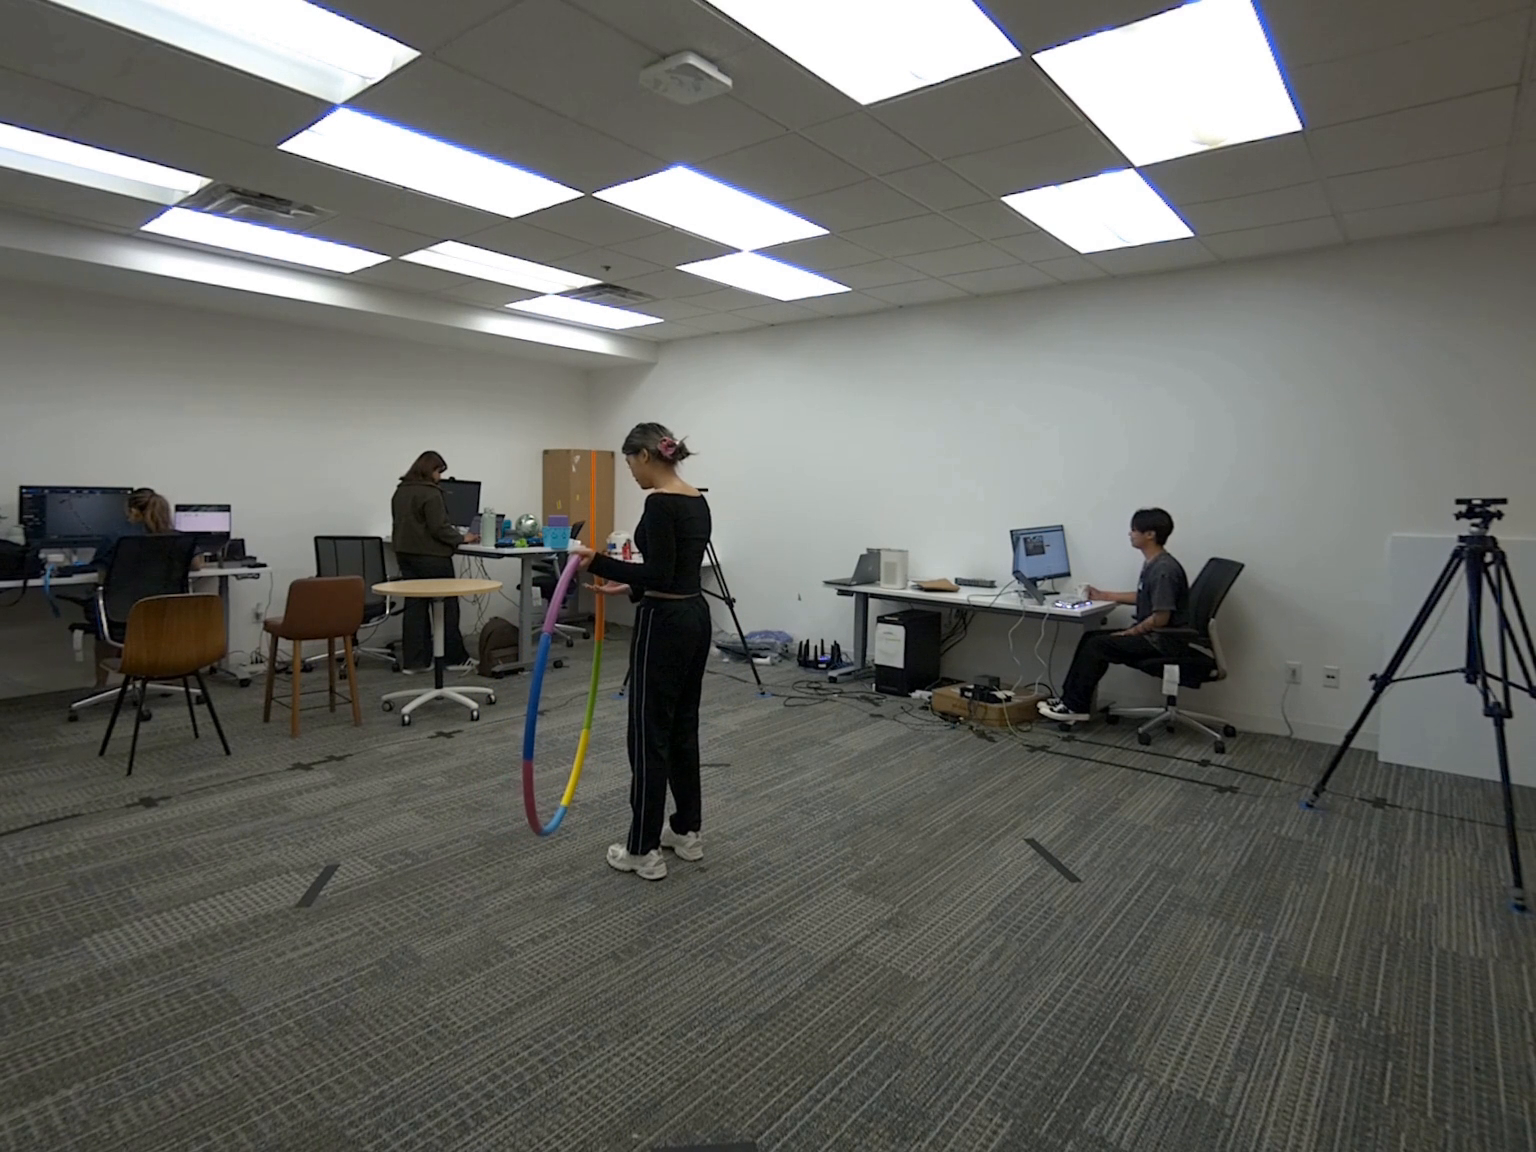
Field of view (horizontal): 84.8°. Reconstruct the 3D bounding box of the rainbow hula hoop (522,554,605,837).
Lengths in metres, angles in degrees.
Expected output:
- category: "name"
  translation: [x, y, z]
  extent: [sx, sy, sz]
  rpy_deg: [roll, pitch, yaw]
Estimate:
- category: "rainbow hula hoop"
  translation: [-0.718, 0.403, 3.013]
  extent: [0.036, 0.975, 0.978]
  rpy_deg: [7, 4, 1]
